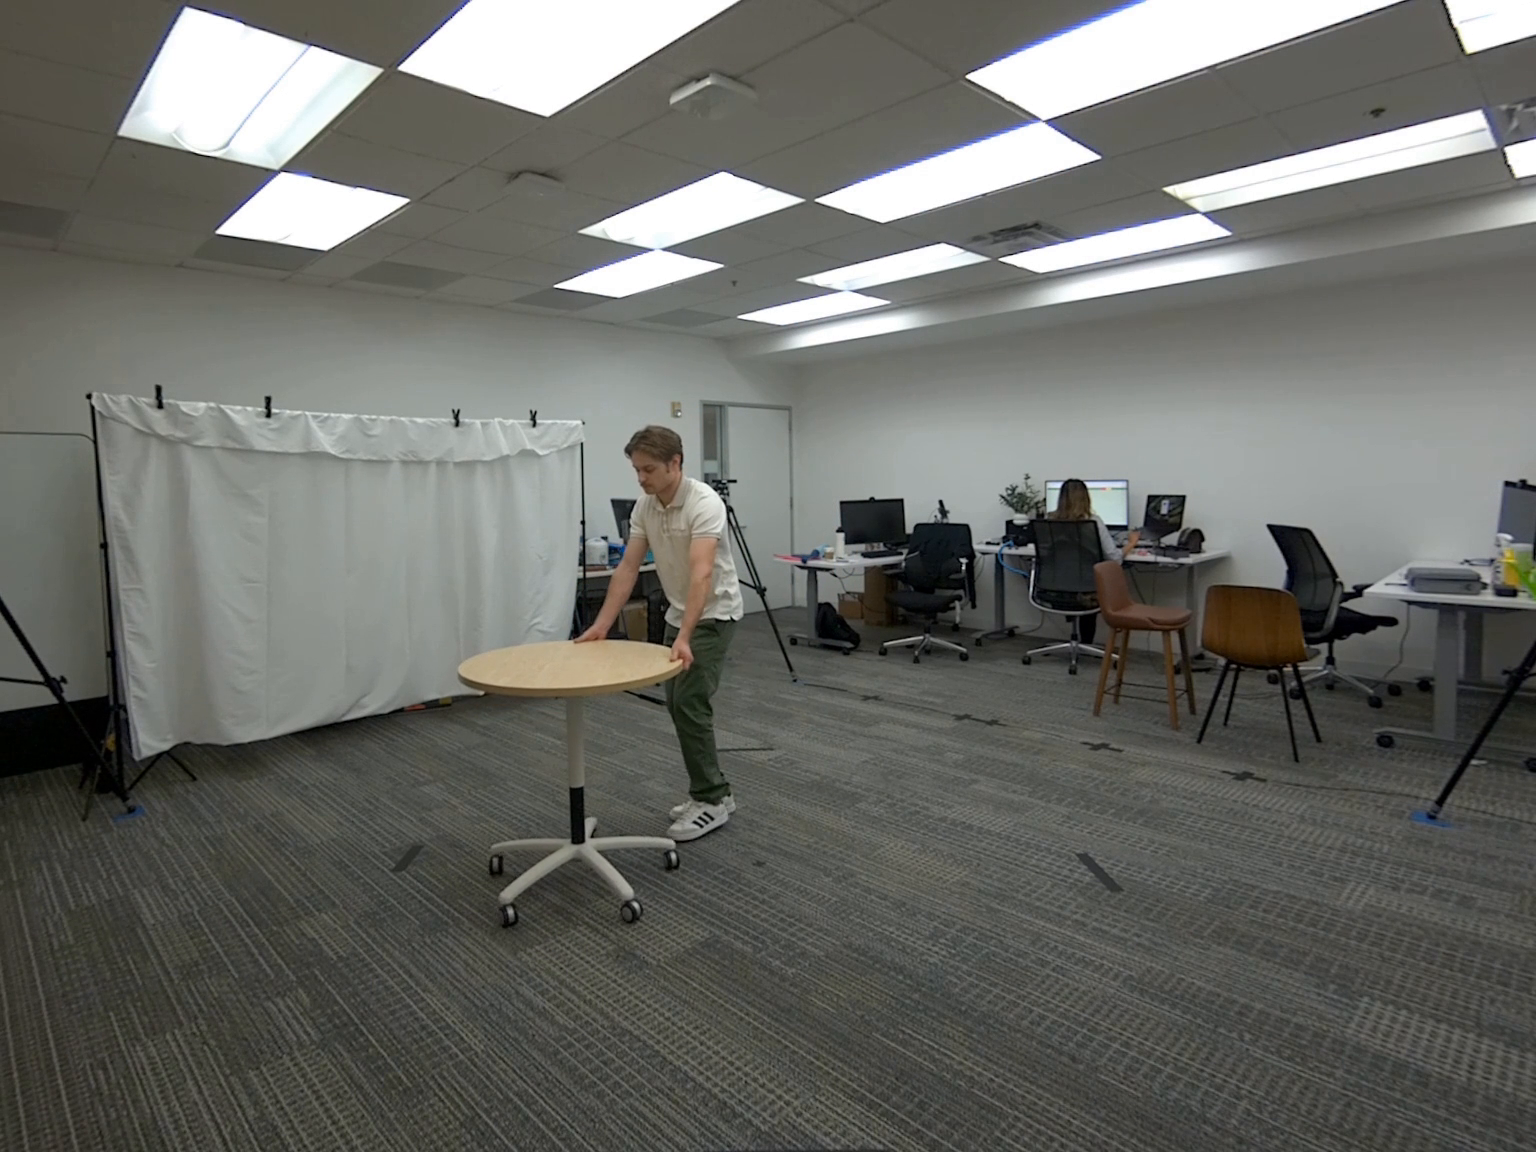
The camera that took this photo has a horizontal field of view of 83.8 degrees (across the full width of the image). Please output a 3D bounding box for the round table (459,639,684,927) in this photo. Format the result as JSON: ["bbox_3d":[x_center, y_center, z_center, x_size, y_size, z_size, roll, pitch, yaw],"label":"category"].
[{"bbox_3d":[-0.657,0.678,2.986,0.784,0.783,0.789,-1,5,-2],"label":"round table"}]
